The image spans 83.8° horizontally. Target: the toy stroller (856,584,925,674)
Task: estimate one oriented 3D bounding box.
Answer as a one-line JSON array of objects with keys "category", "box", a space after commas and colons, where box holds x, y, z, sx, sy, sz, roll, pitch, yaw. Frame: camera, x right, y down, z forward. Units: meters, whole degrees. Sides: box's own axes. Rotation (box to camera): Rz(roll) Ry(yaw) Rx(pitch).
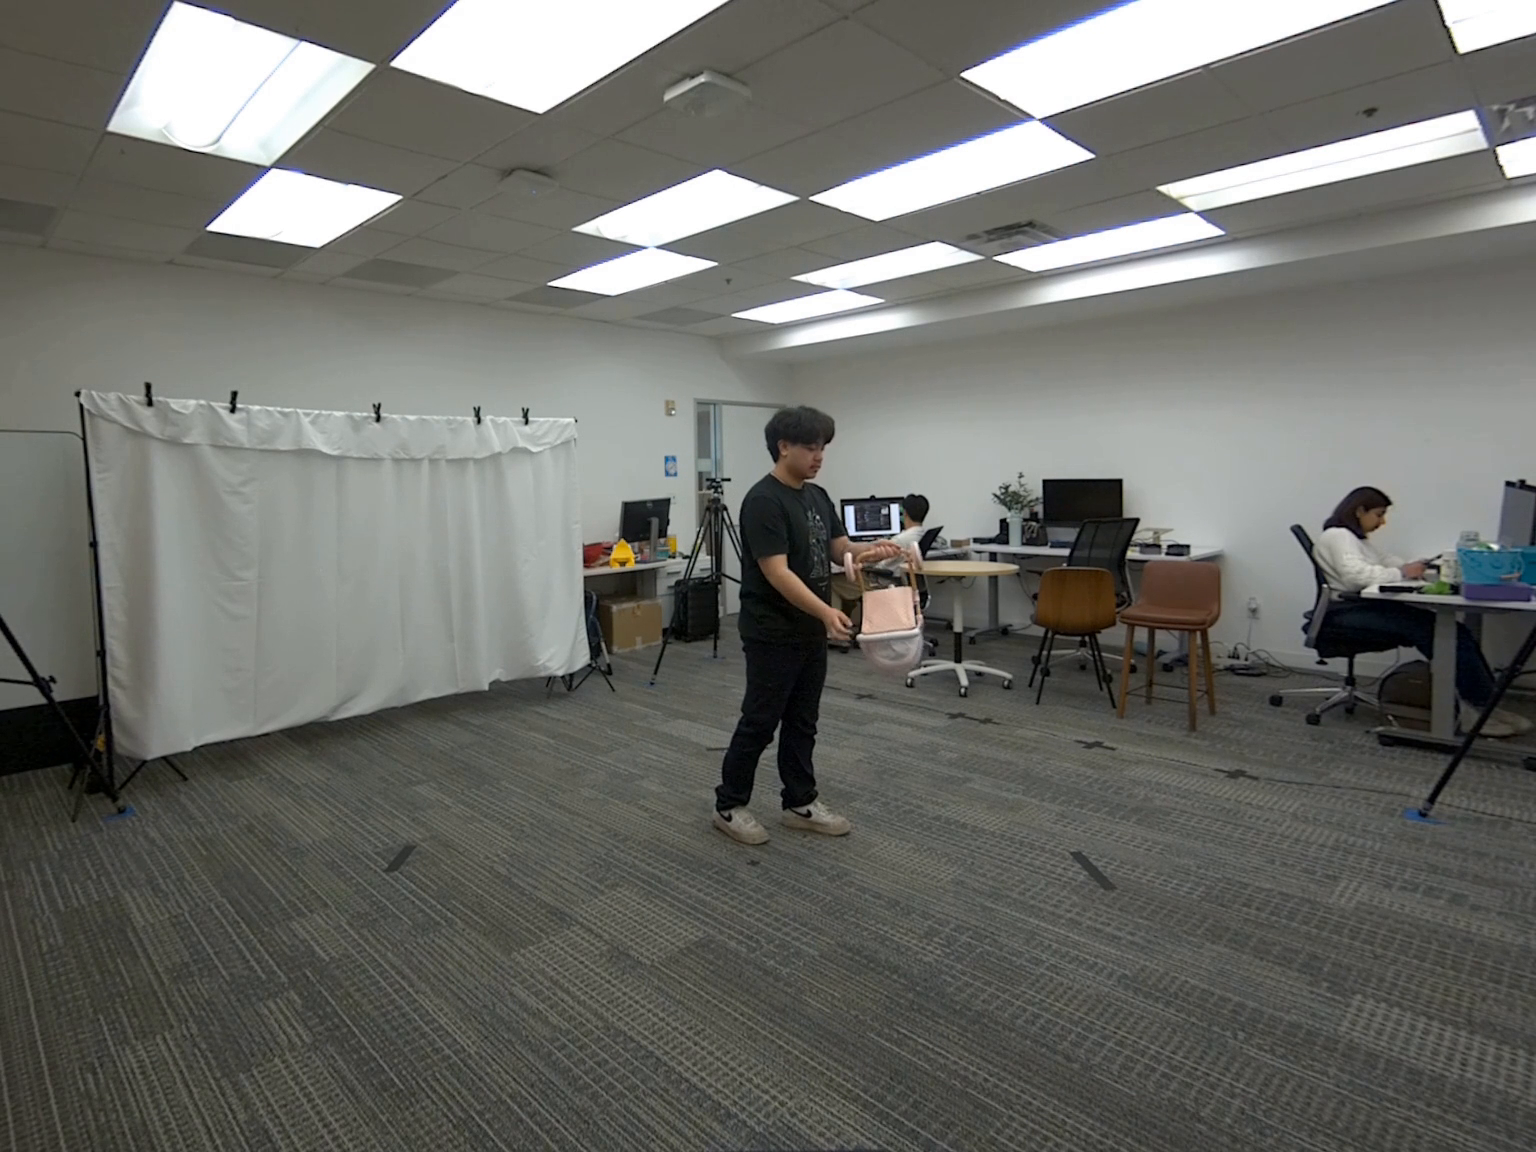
[{"category": "toy stroller", "box": [0.435, 0.129, 3.097, 0.284, 0.330, 0.548, -8, 40, 11]}]
